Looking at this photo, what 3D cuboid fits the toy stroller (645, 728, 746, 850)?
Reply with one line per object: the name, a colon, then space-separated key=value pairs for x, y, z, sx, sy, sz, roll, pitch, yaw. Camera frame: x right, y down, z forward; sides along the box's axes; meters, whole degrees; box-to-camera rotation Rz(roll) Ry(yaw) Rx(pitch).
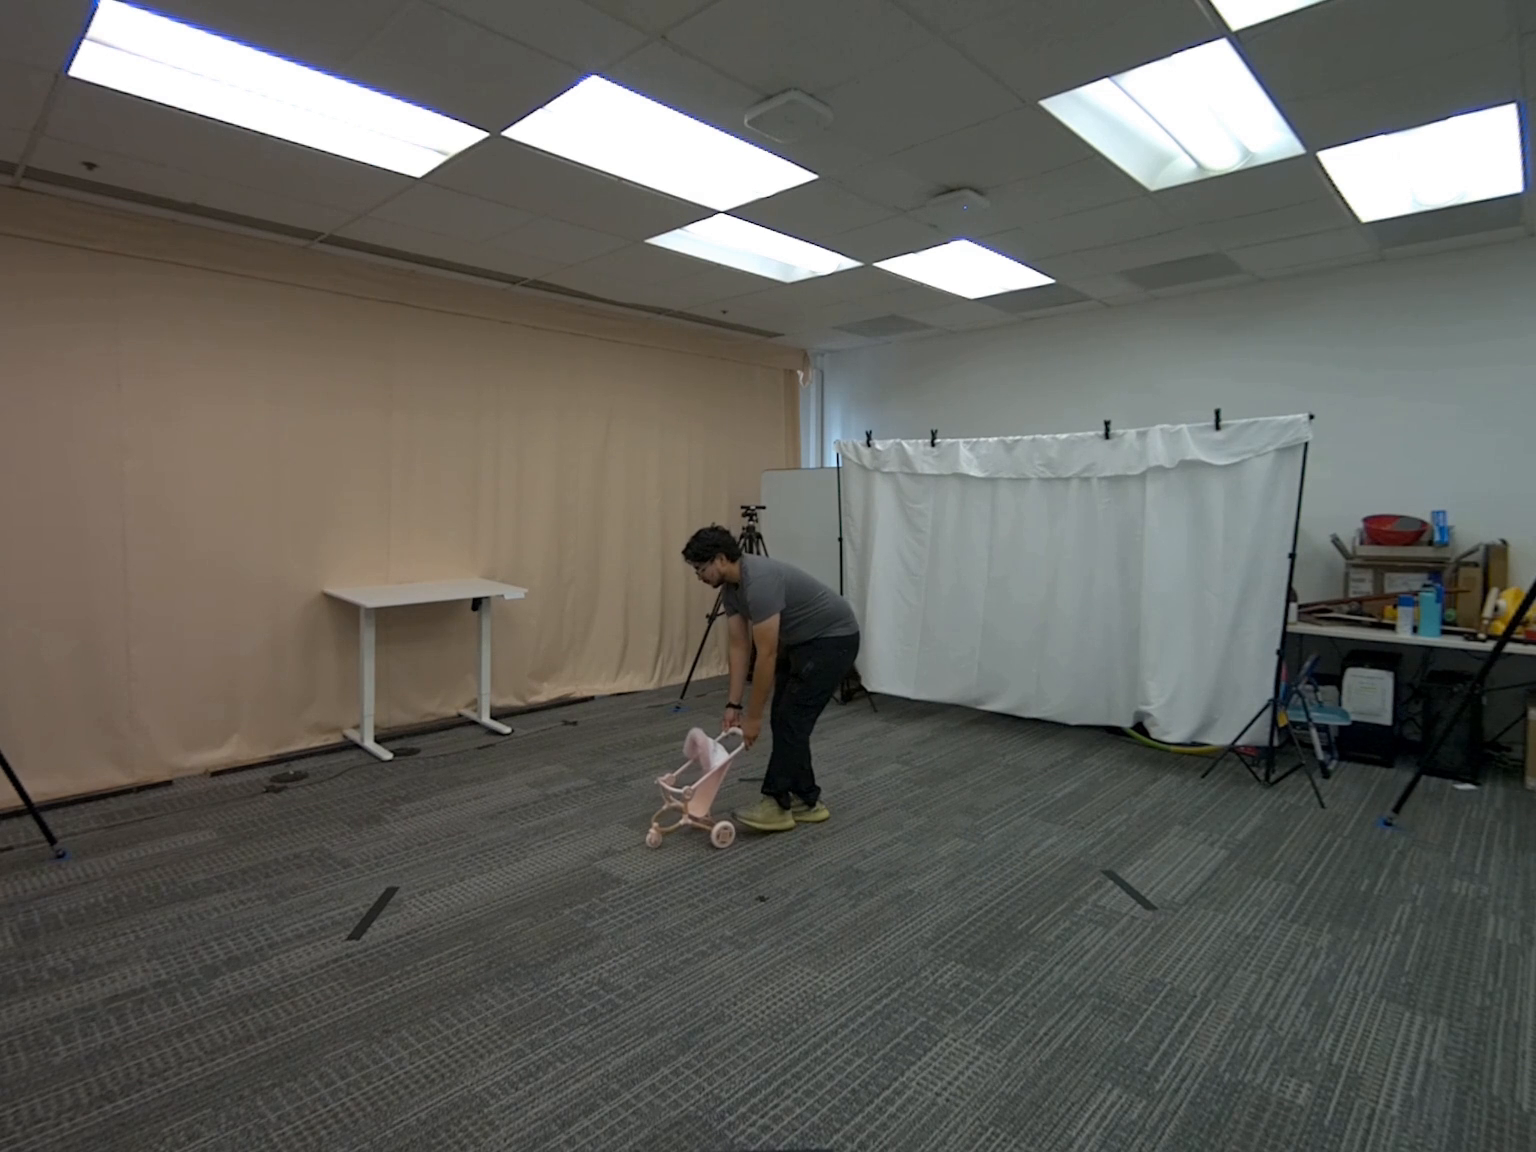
toy stroller: x=-0.301 y=0.873 z=3.501 sx=0.333 sy=0.535 sz=0.288 roll=15 pitch=-3 yaw=-22
